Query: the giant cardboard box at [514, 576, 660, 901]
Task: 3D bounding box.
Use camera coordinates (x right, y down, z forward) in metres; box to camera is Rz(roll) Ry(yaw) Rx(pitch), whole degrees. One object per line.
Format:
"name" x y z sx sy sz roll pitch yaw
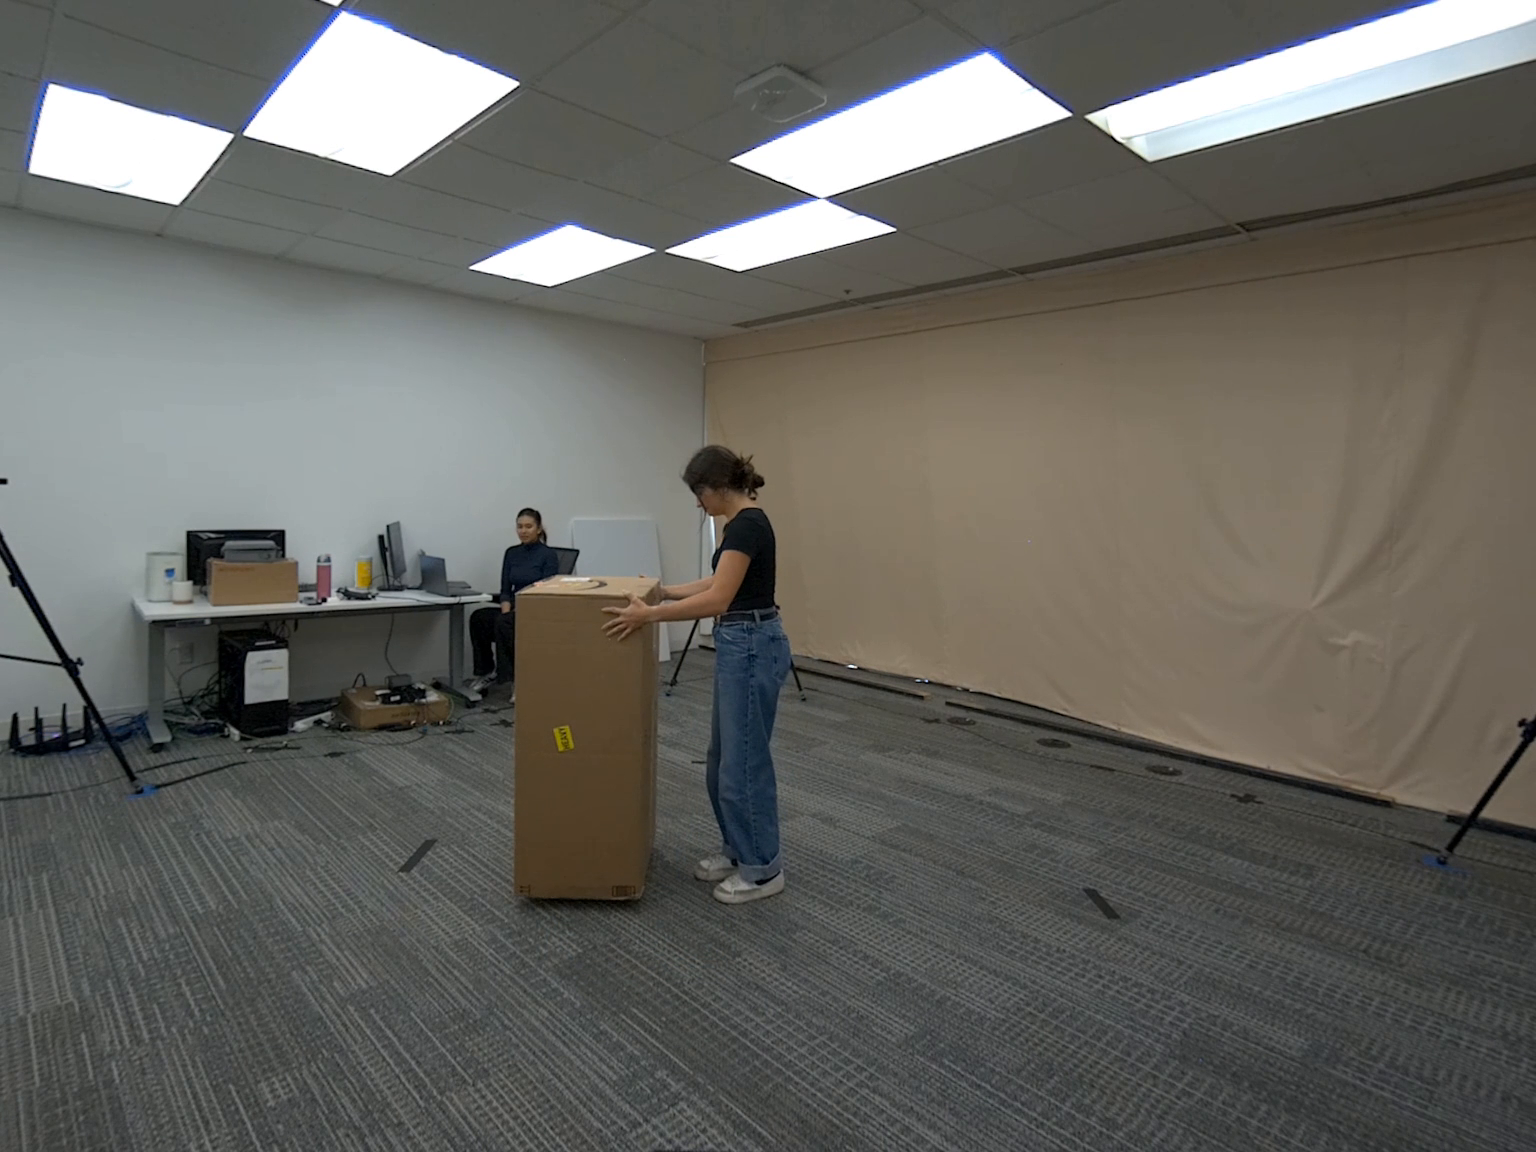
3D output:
"giant cardboard box" -0.643 0.547 3.053 0.426 1.023 0.579 1 4 -1
